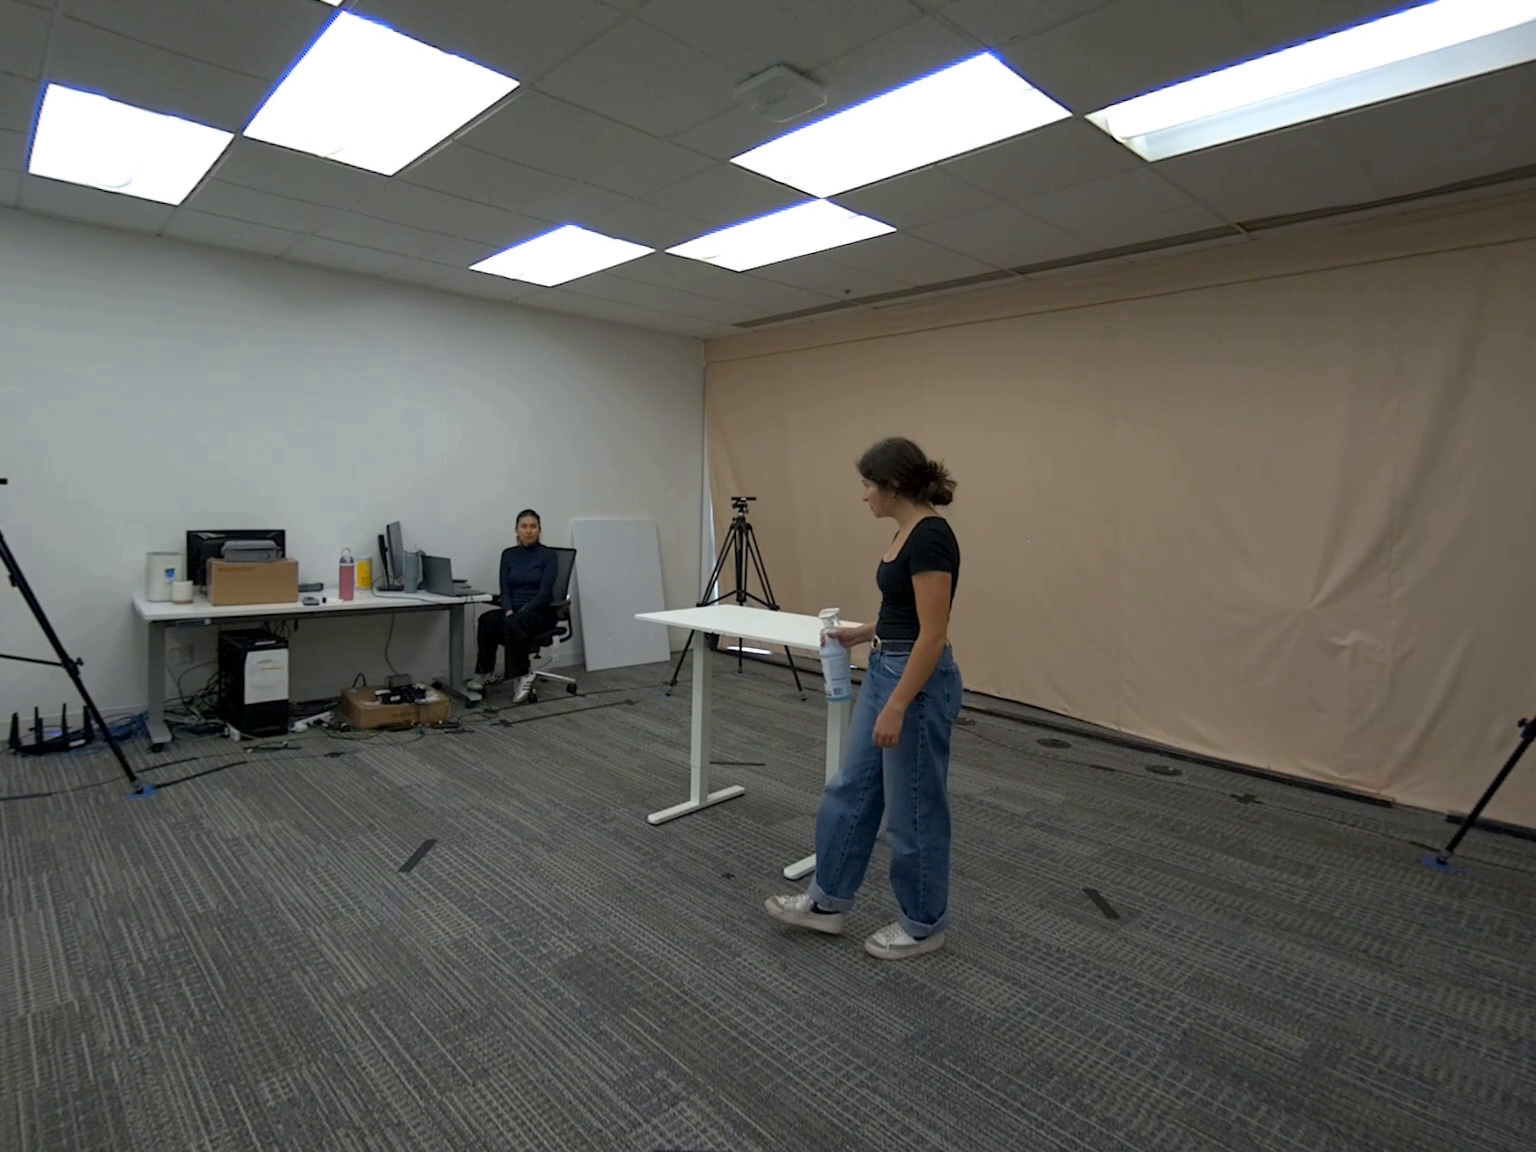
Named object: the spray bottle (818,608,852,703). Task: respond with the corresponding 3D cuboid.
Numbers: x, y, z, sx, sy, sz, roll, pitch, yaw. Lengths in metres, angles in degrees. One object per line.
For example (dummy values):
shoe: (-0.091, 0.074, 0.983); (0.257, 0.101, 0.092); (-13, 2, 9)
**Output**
spray bottle: (0.201, 0.251, 2.726); (0.086, 0.296, 0.091); (-9, 4, -17)
